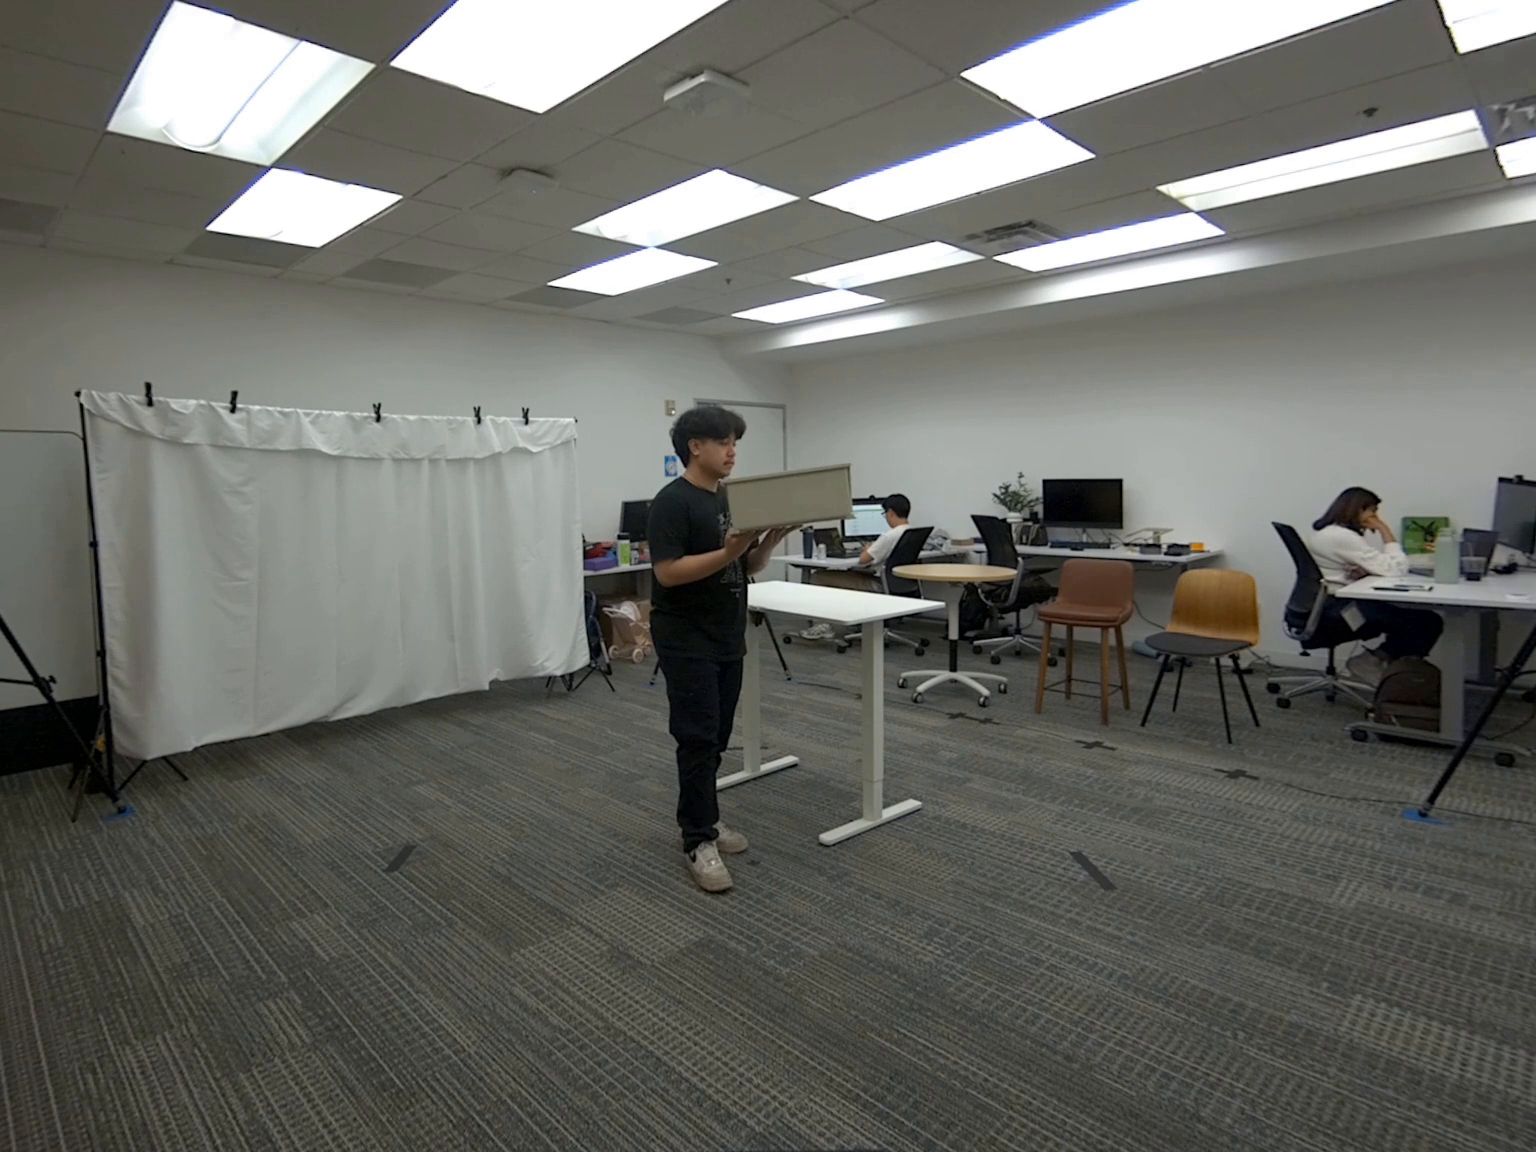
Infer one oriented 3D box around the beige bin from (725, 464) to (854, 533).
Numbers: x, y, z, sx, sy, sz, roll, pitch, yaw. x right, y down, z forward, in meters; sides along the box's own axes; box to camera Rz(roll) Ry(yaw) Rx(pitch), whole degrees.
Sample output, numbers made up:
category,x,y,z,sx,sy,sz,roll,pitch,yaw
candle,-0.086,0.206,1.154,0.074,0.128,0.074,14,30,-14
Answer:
category,x,y,z,sx,sy,sz,roll,pitch,yaw
beige bin,0.075,-0.252,2.915,0.425,0.189,0.375,-6,3,6
